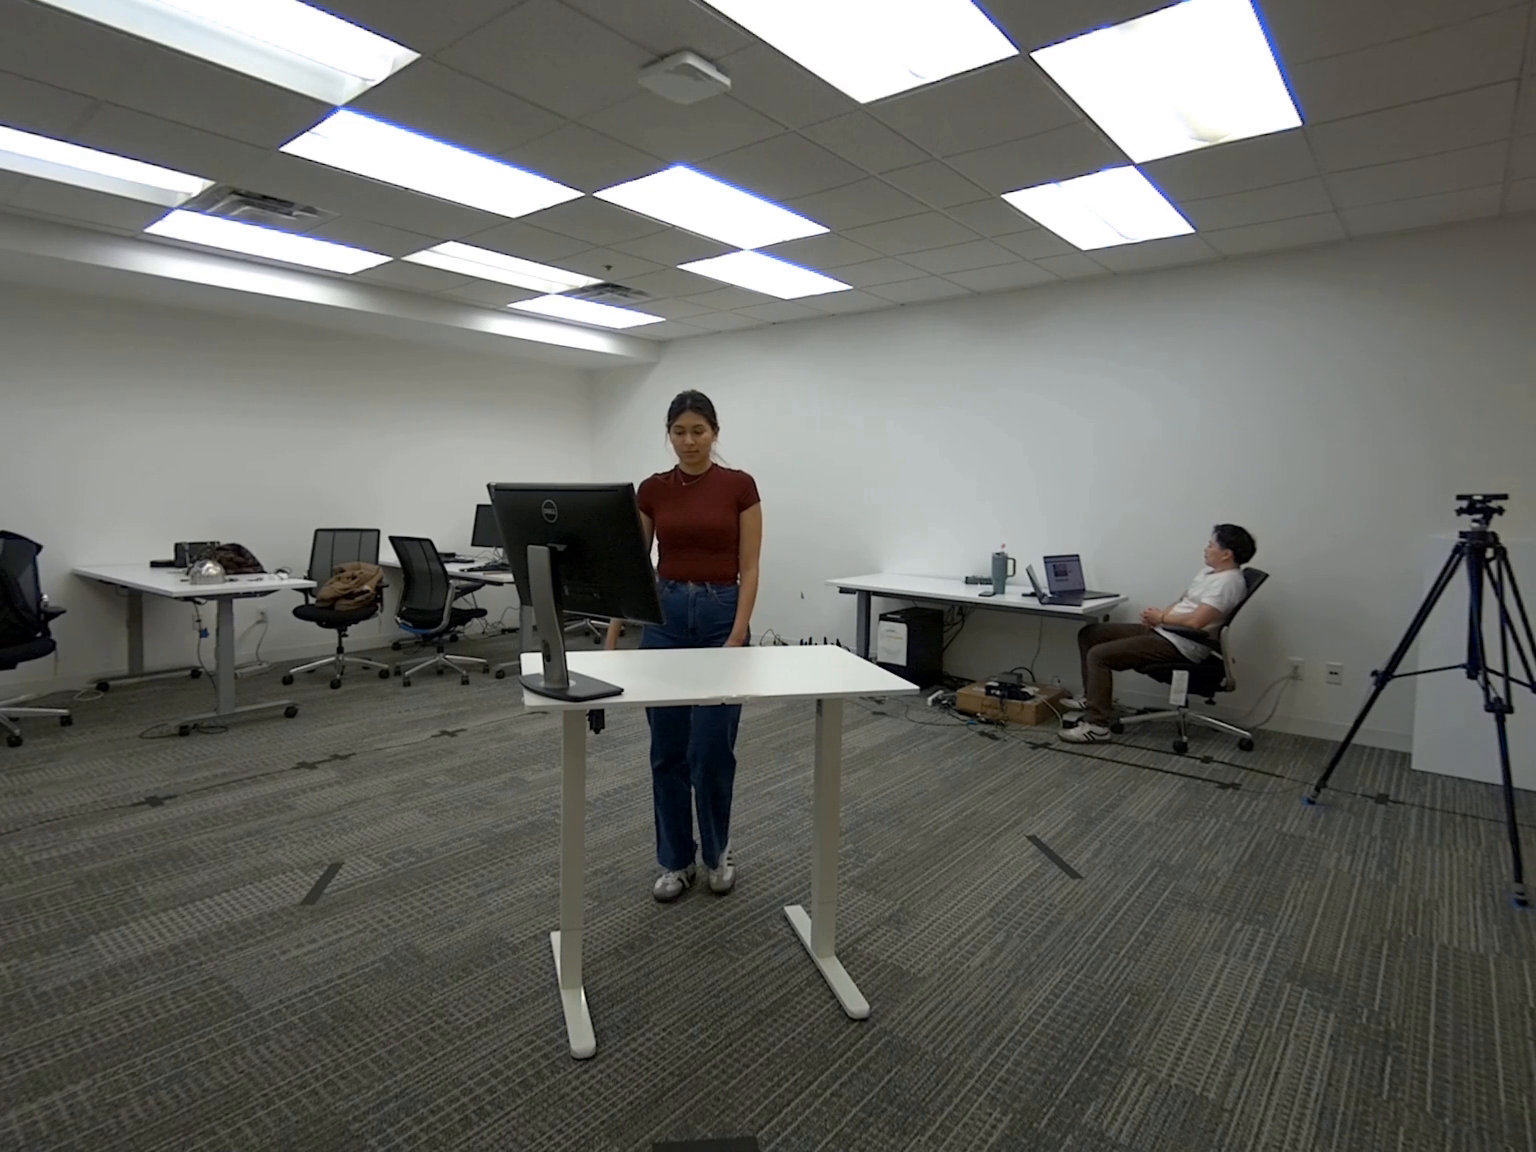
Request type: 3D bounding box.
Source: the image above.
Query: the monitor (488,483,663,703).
[{"bbox_3d":[-0.516,0.025,2.115,0.556,0.520,0.182,3,6,34],"label":"monitor"}]
